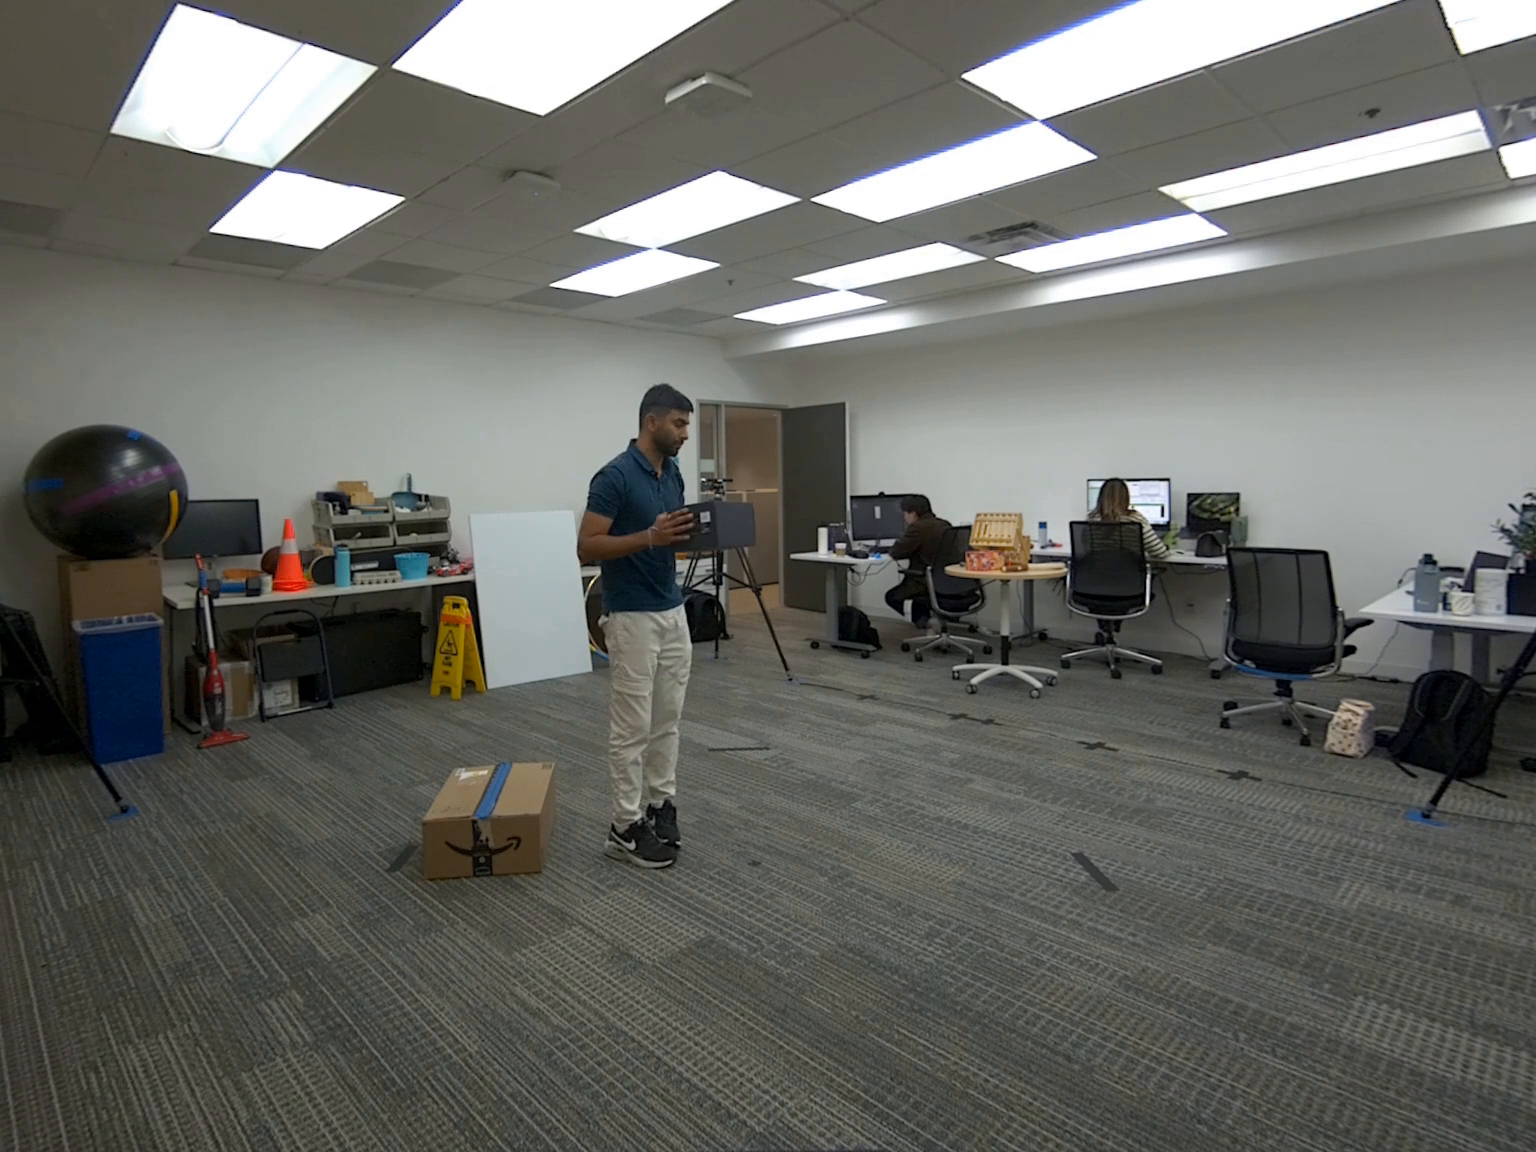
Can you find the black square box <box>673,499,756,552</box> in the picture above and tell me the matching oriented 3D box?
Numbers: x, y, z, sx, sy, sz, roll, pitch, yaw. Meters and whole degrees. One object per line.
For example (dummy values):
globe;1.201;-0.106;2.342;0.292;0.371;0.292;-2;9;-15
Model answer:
black square box;-0.196;-0.173;2.979;0.221;0.156;0.223;-5;-2;25
